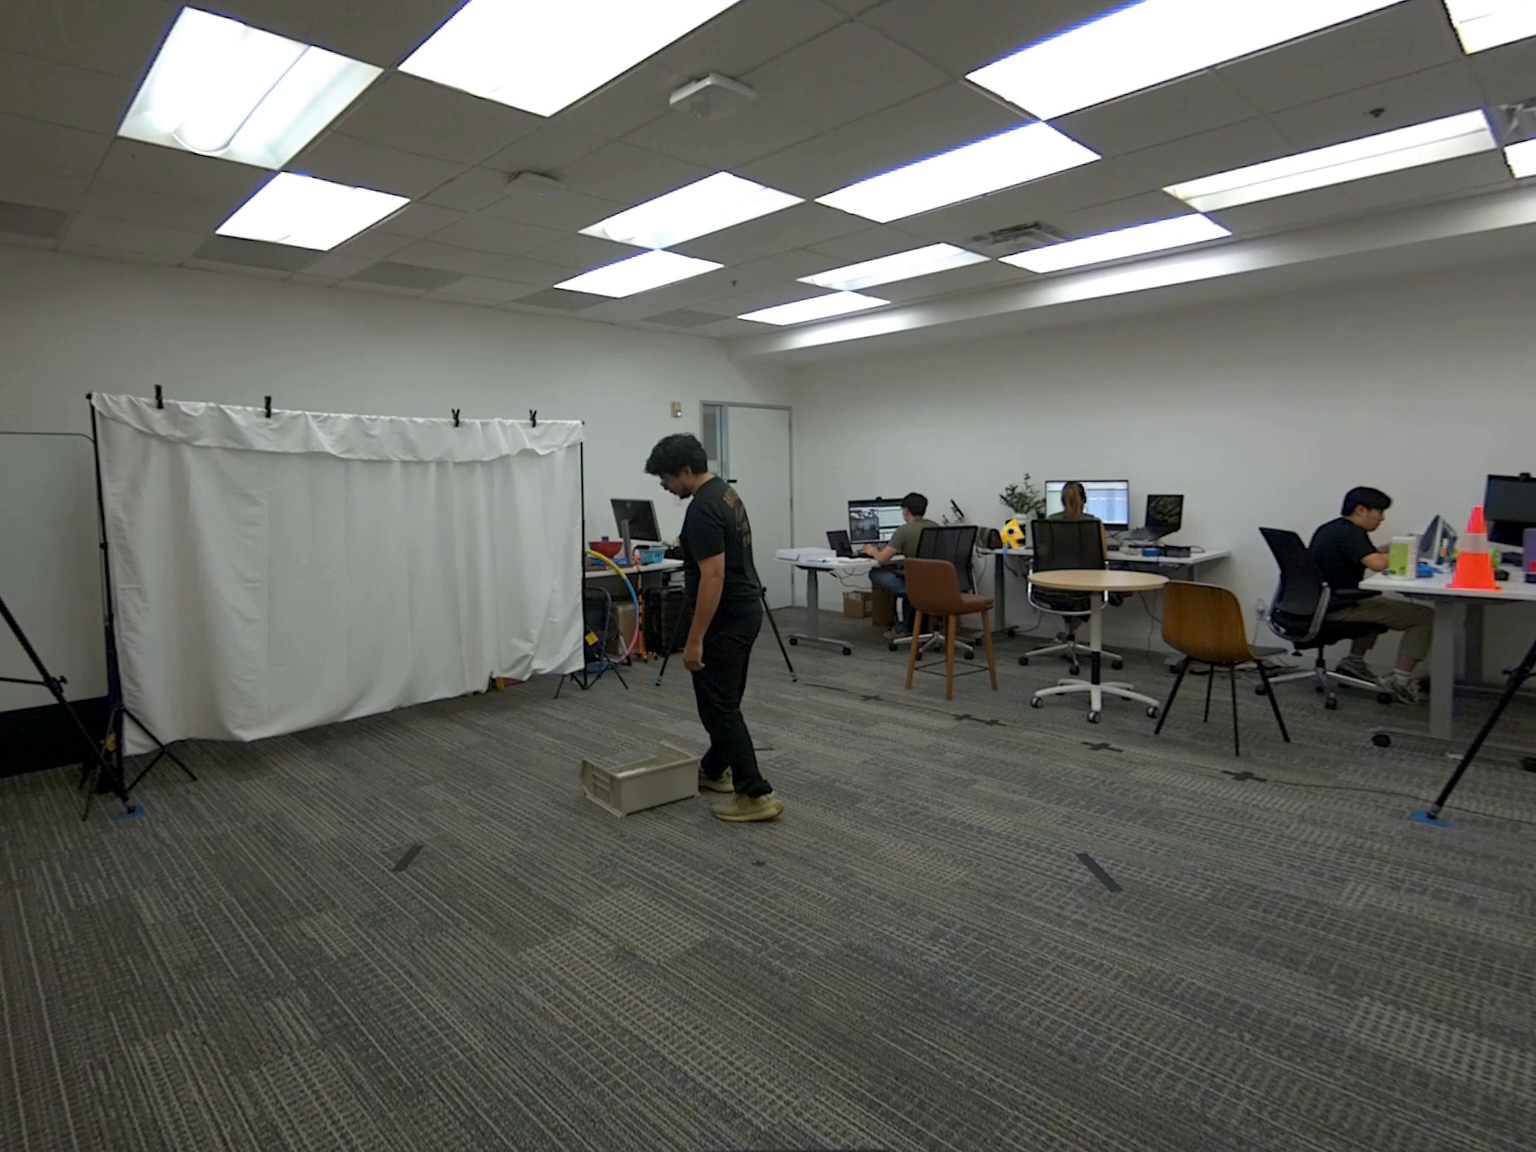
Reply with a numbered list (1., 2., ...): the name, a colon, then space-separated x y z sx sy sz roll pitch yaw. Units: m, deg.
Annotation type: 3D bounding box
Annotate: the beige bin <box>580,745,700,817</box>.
1. beige bin: -0.558 0.890 3.823 0.411 0.188 0.389 -5 8 -37
